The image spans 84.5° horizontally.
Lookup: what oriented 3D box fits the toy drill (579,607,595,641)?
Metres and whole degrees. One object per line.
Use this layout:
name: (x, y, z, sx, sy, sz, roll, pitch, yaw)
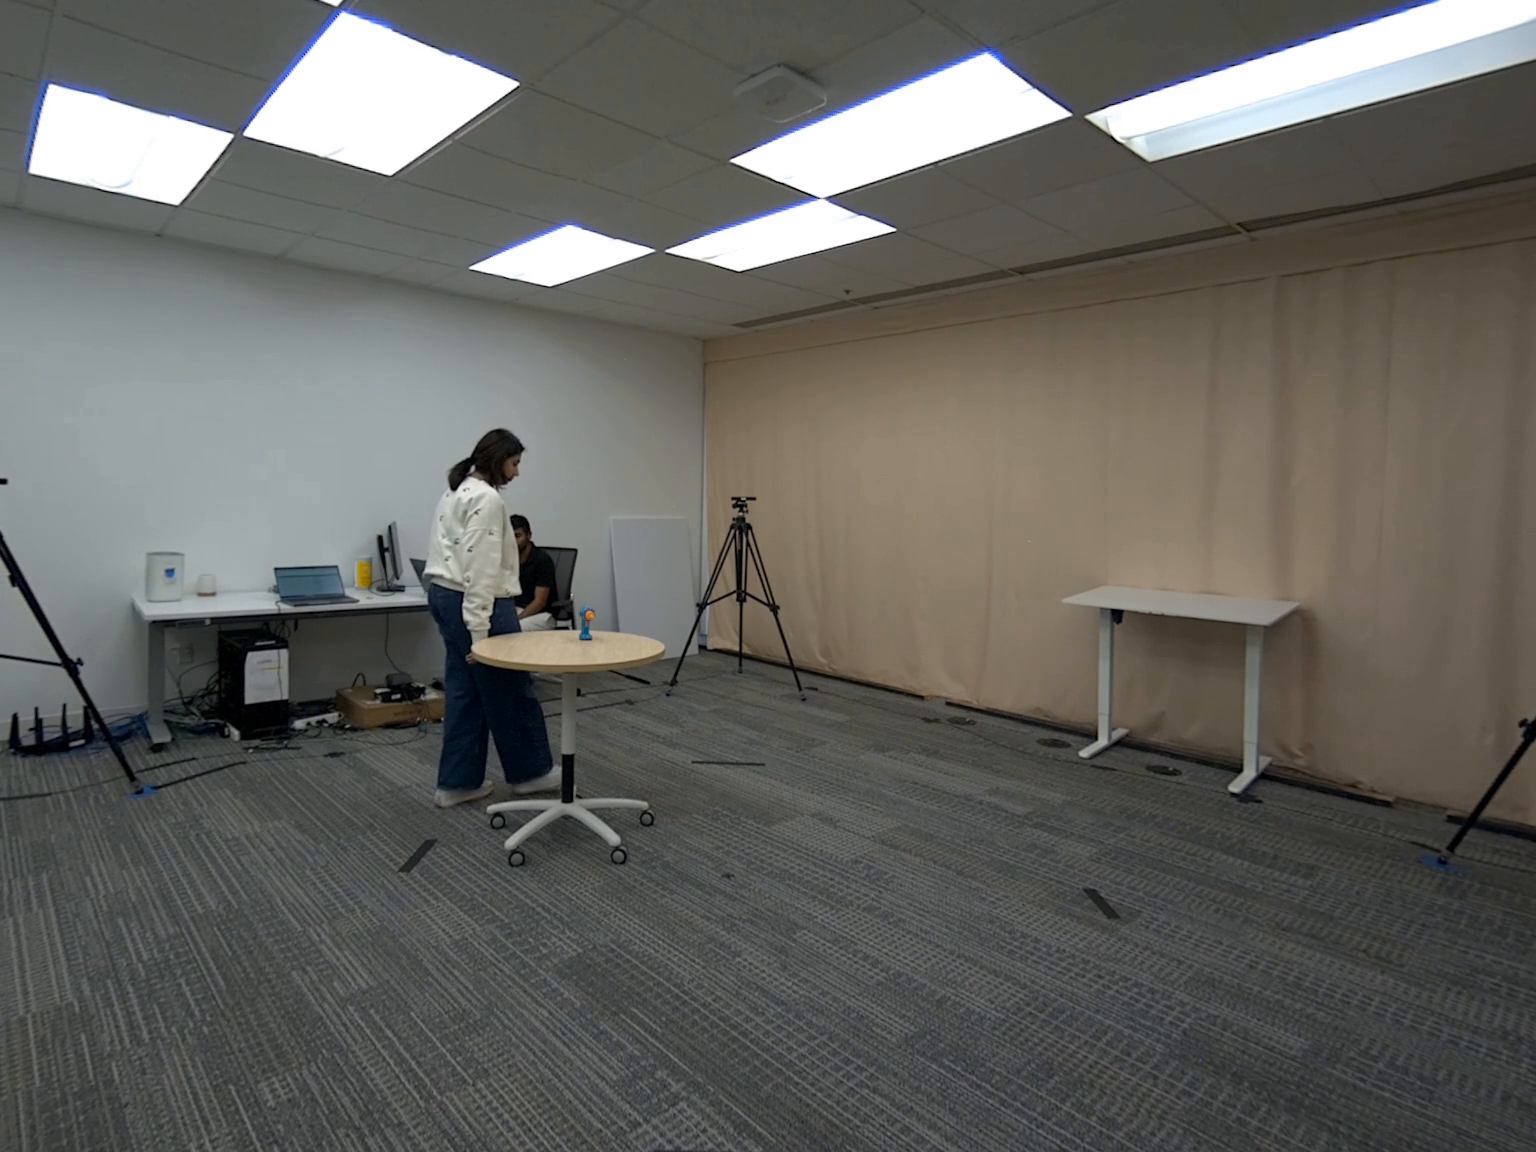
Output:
toy drill: (-0.769, 0.199, 3.524, 0.060, 0.146, 0.173, -1, 4, -20)
